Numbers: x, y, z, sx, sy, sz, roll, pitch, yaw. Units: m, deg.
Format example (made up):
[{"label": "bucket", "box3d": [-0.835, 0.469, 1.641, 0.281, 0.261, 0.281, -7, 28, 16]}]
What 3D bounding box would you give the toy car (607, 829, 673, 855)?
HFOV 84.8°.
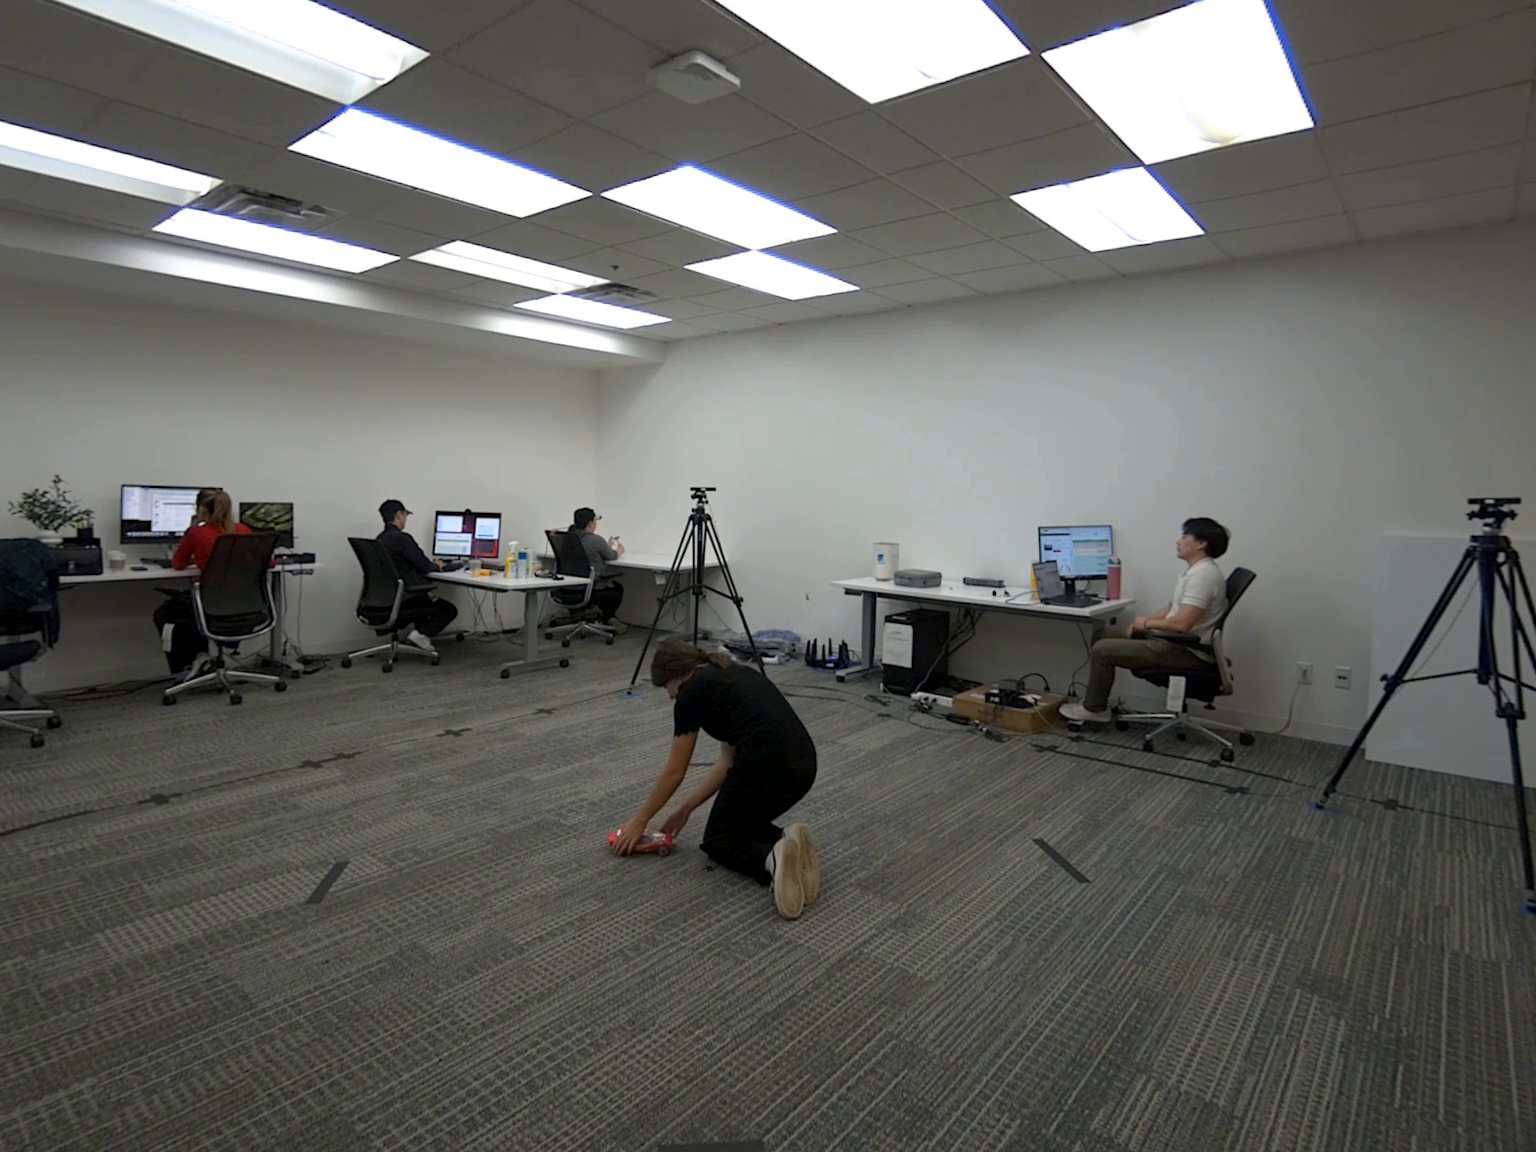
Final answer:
[{"label": "toy car", "box3d": [-0.508, 1.018, 3.269, 0.254, 0.083, 0.131, 13, 3, -1]}]
